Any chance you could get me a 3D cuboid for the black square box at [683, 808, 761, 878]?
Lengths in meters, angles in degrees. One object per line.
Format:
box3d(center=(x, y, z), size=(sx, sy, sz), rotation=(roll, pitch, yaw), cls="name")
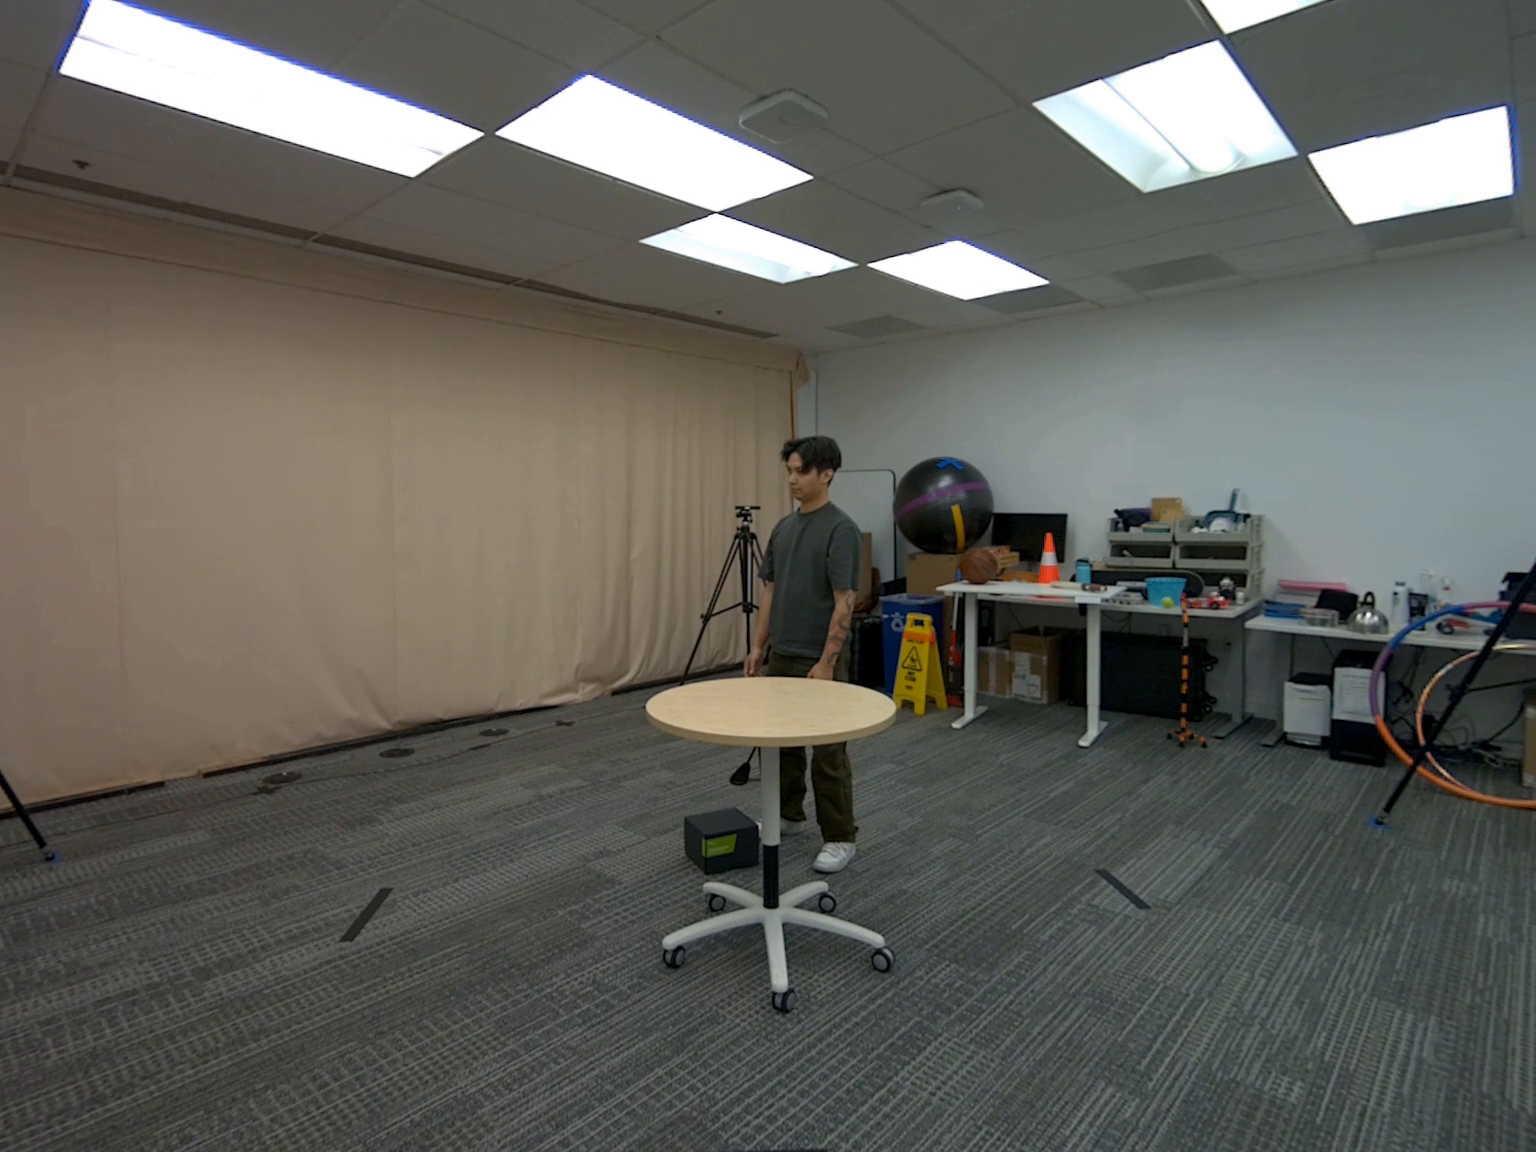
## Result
box3d(center=(-0.182, 1.035, 3.308), size=(0.222, 0.155, 0.223), rotation=(-3, 5, -27), cls="black square box")
